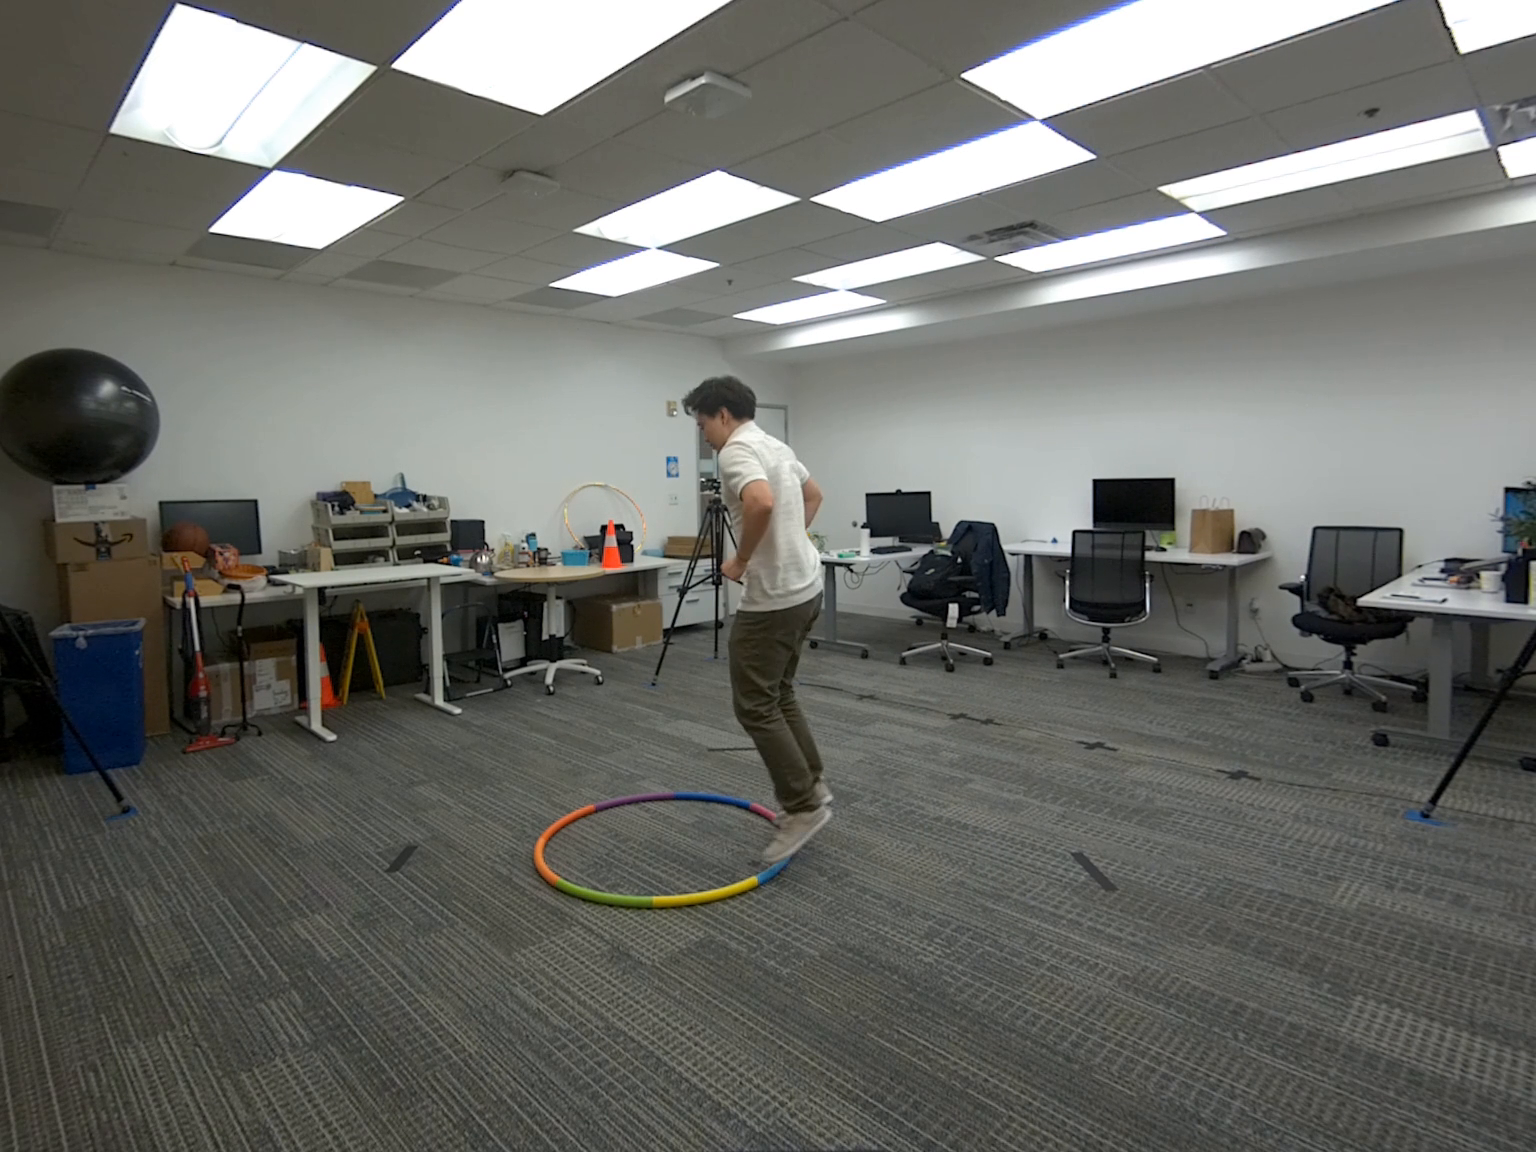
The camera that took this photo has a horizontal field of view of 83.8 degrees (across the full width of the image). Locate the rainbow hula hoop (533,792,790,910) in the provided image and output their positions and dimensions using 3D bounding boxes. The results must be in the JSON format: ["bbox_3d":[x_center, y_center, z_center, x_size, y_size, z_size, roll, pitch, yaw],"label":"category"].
[{"bbox_3d":[-0.386,1.003,3.271,0.978,0.035,0.984,-1,6,-2],"label":"rainbow hula hoop"}]
